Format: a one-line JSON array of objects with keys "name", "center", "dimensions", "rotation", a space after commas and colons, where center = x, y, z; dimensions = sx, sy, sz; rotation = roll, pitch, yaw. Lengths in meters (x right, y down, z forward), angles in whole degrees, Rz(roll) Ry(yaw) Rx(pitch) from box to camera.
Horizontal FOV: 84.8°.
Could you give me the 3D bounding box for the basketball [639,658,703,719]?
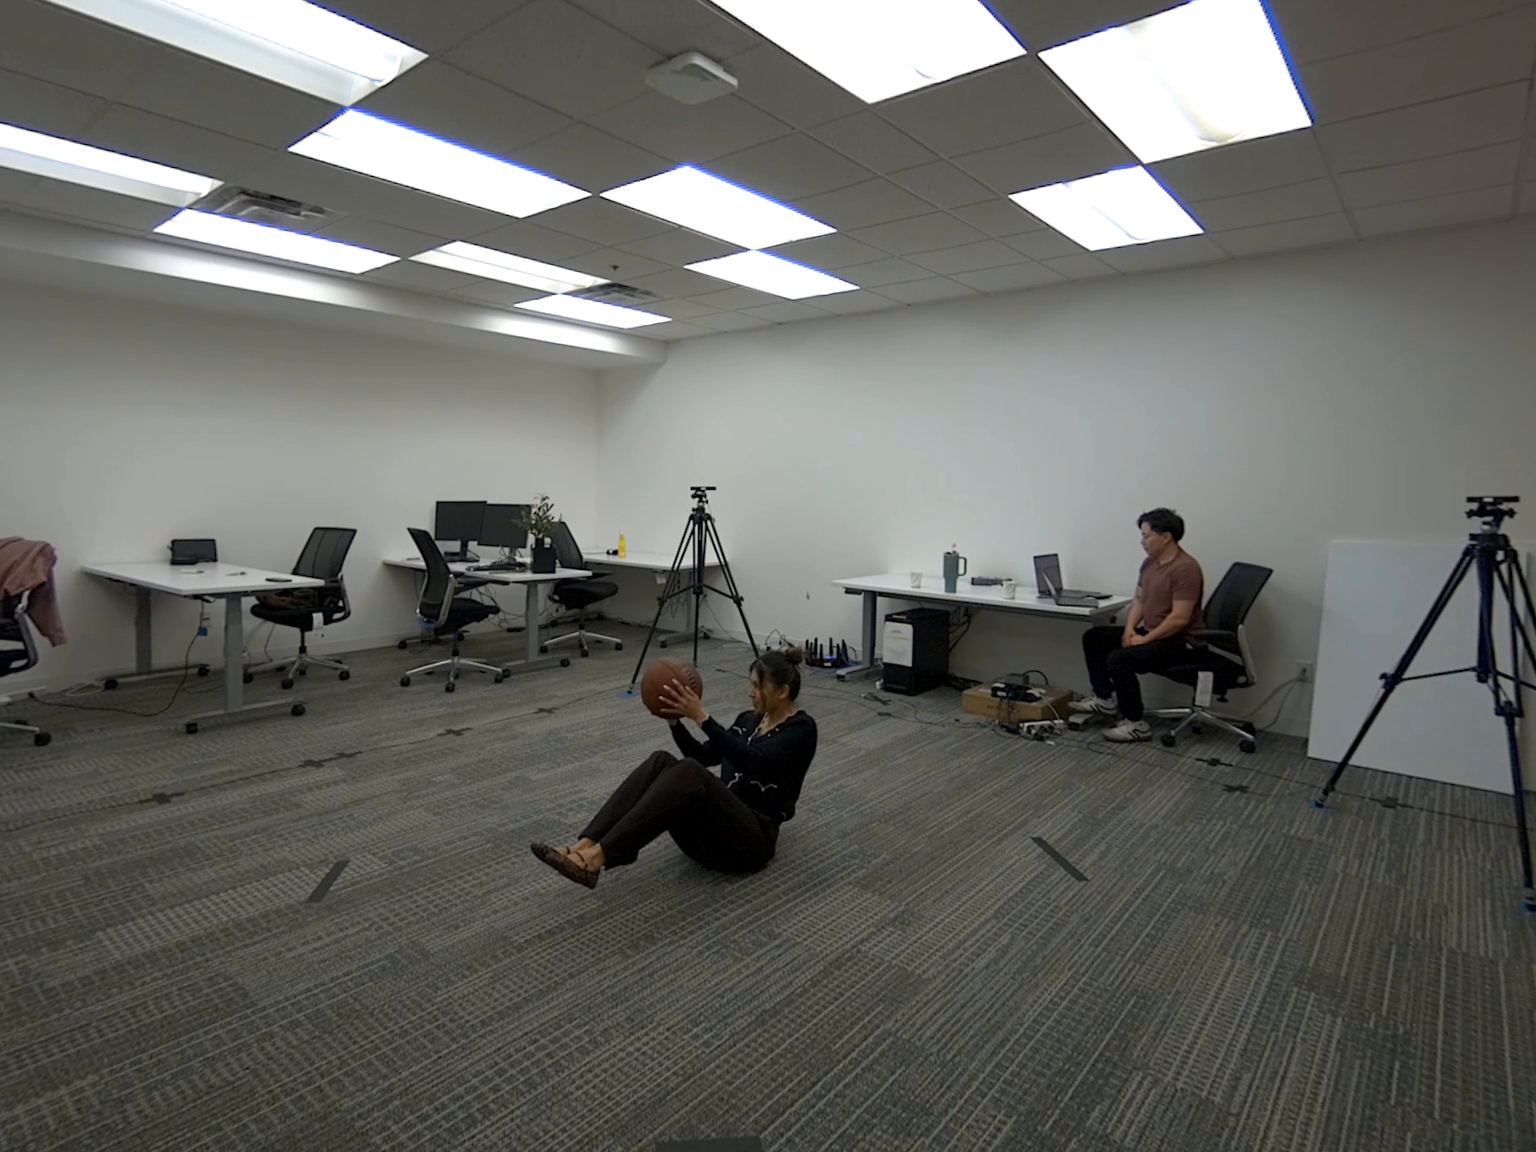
[{"name": "basketball", "center": [-0.367, 0.444, 3.239], "dimensions": [0.235, 0.235, 0.237], "rotation": [1, 4, -2]}]
